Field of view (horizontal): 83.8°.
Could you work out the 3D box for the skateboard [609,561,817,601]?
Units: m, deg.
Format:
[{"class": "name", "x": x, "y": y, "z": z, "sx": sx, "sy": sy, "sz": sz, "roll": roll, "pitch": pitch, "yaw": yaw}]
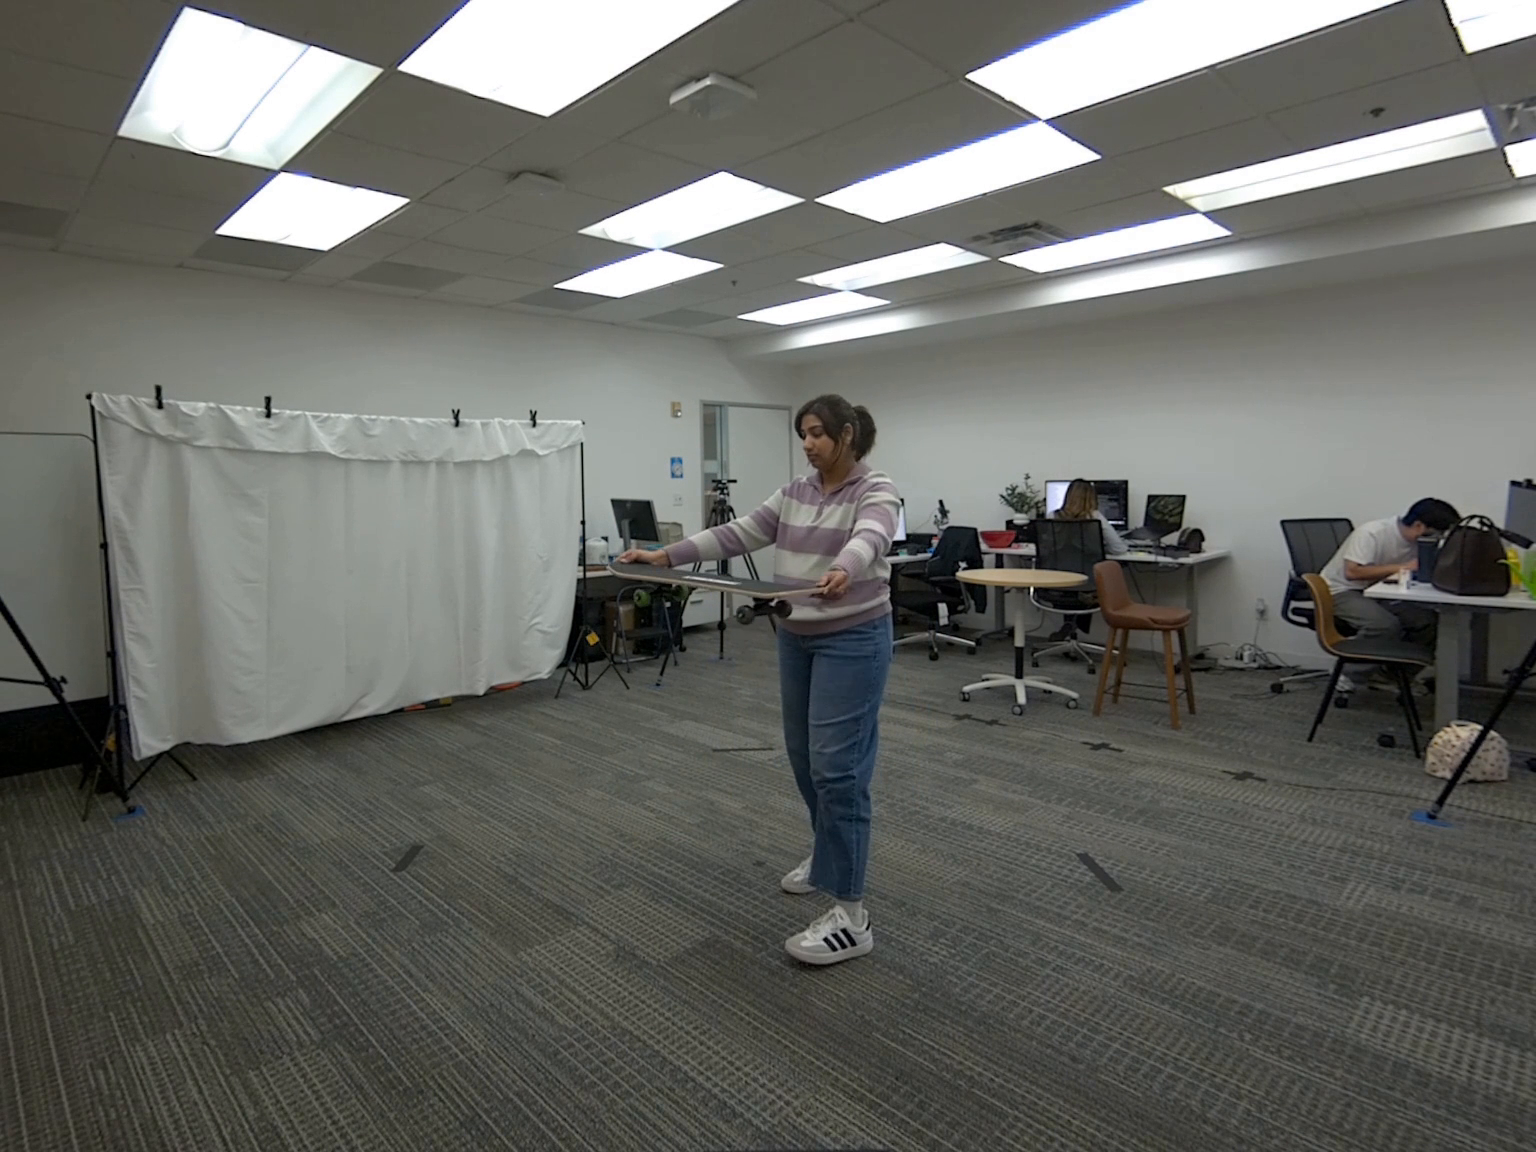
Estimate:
[{"class": "skateboard", "x": -0.170, "y": 0.045, "z": 2.368, "sx": 0.810, "sy": 0.110, "sz": 0.188, "roll": 7, "pitch": 6, "yaw": 41}]
